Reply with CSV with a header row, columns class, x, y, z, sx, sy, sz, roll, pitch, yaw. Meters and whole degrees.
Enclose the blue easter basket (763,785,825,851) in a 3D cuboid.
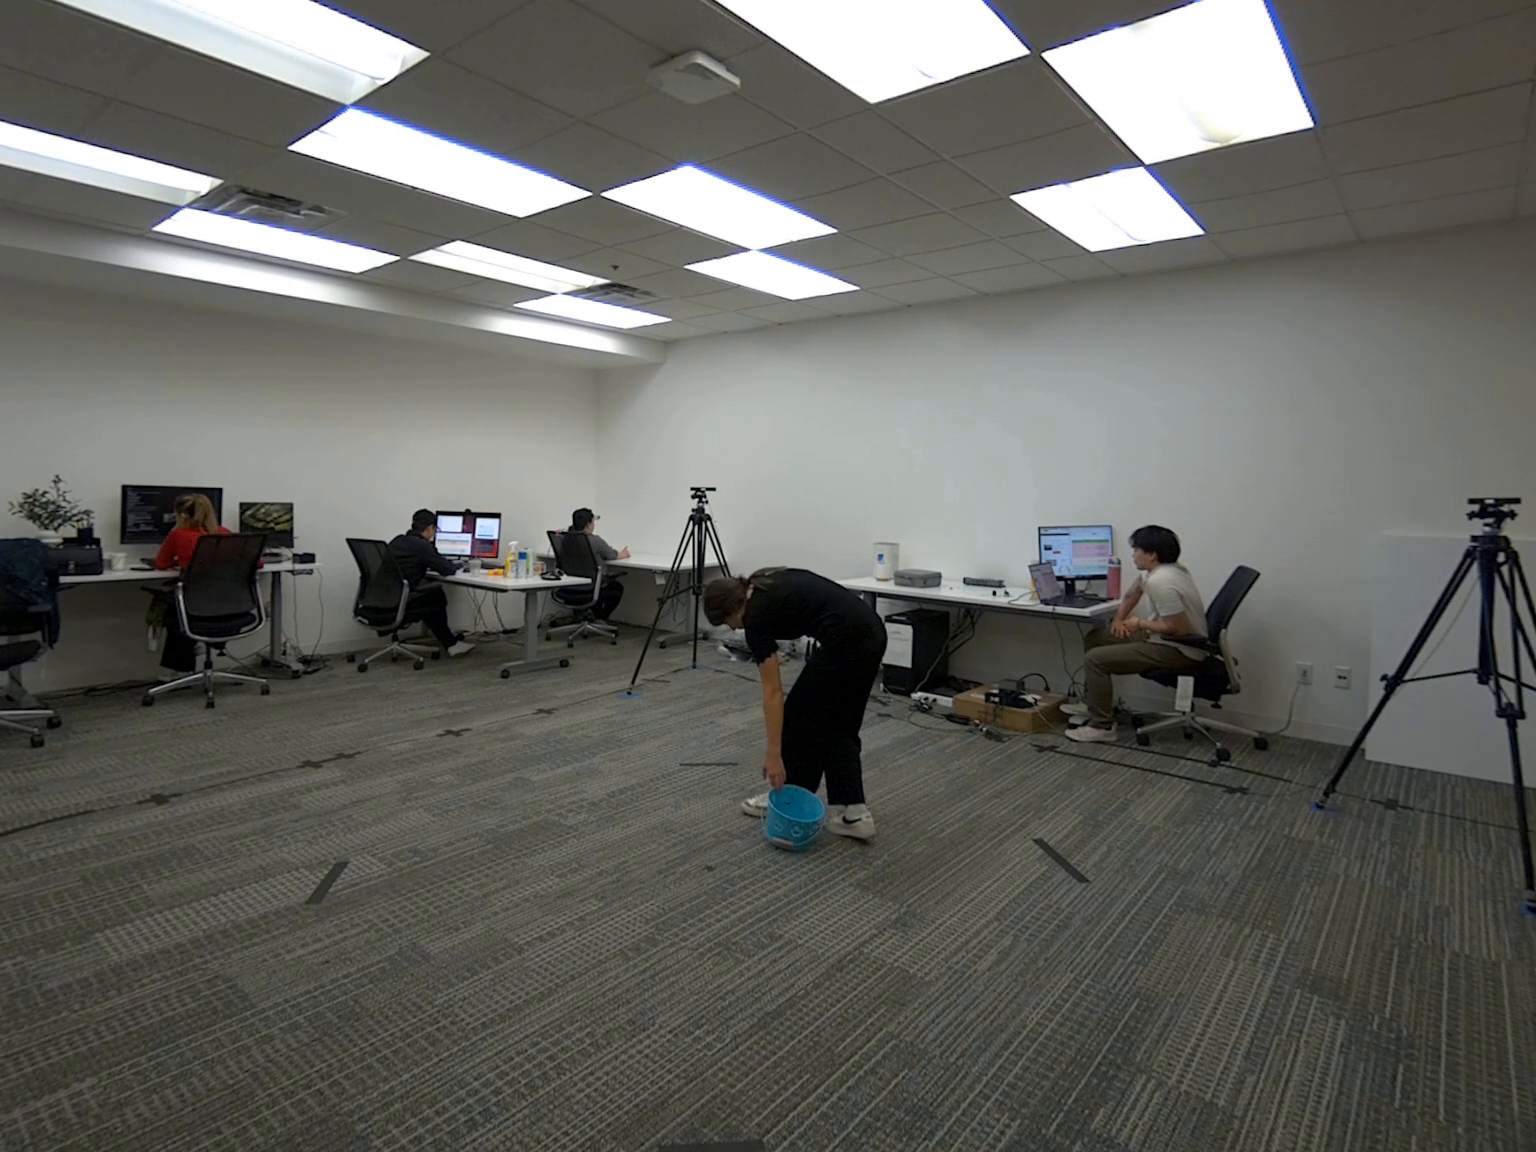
class,x,y,z,sx,sy,sz,roll,pitch,yaw
blue easter basket,0.089,0.952,3.342,0.242,0.154,0.247,12,14,-5
